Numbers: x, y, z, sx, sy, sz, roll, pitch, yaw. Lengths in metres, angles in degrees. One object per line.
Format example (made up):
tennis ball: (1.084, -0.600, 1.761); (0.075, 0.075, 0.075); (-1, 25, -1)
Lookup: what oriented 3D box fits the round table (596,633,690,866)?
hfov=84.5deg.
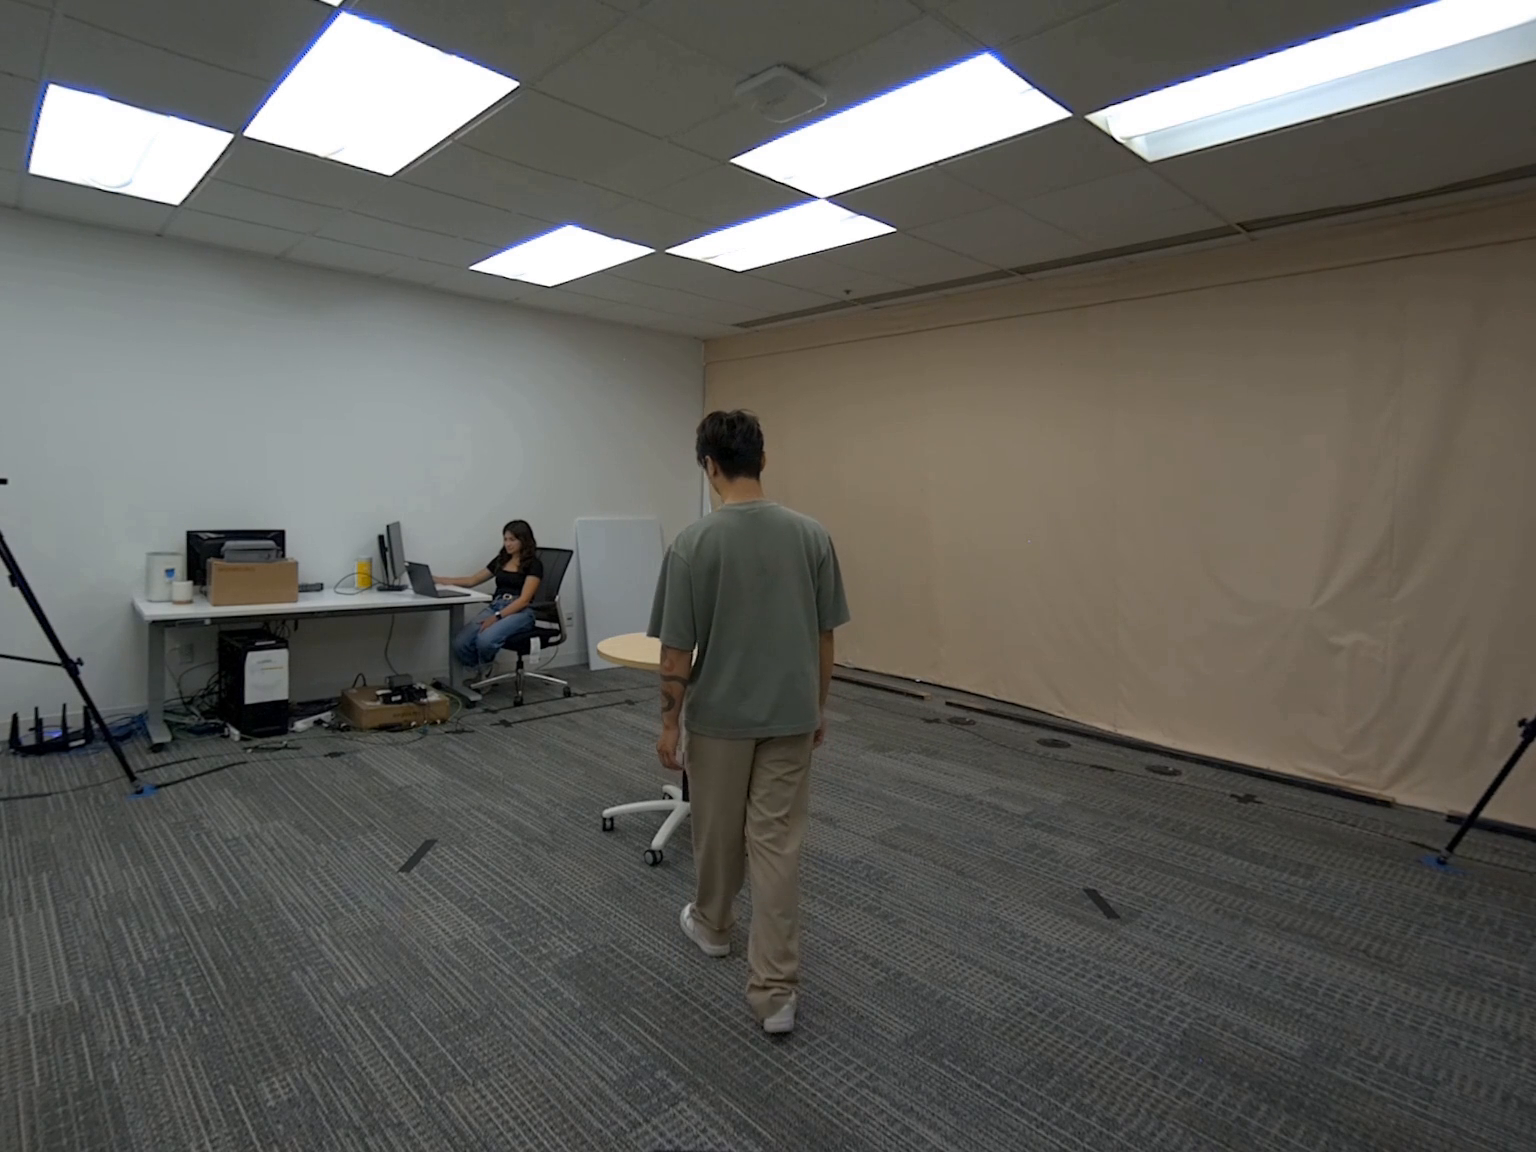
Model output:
round table: (-0.332, 0.679, 3.488); (0.784, 0.784, 0.788); (2, 5, -2)
